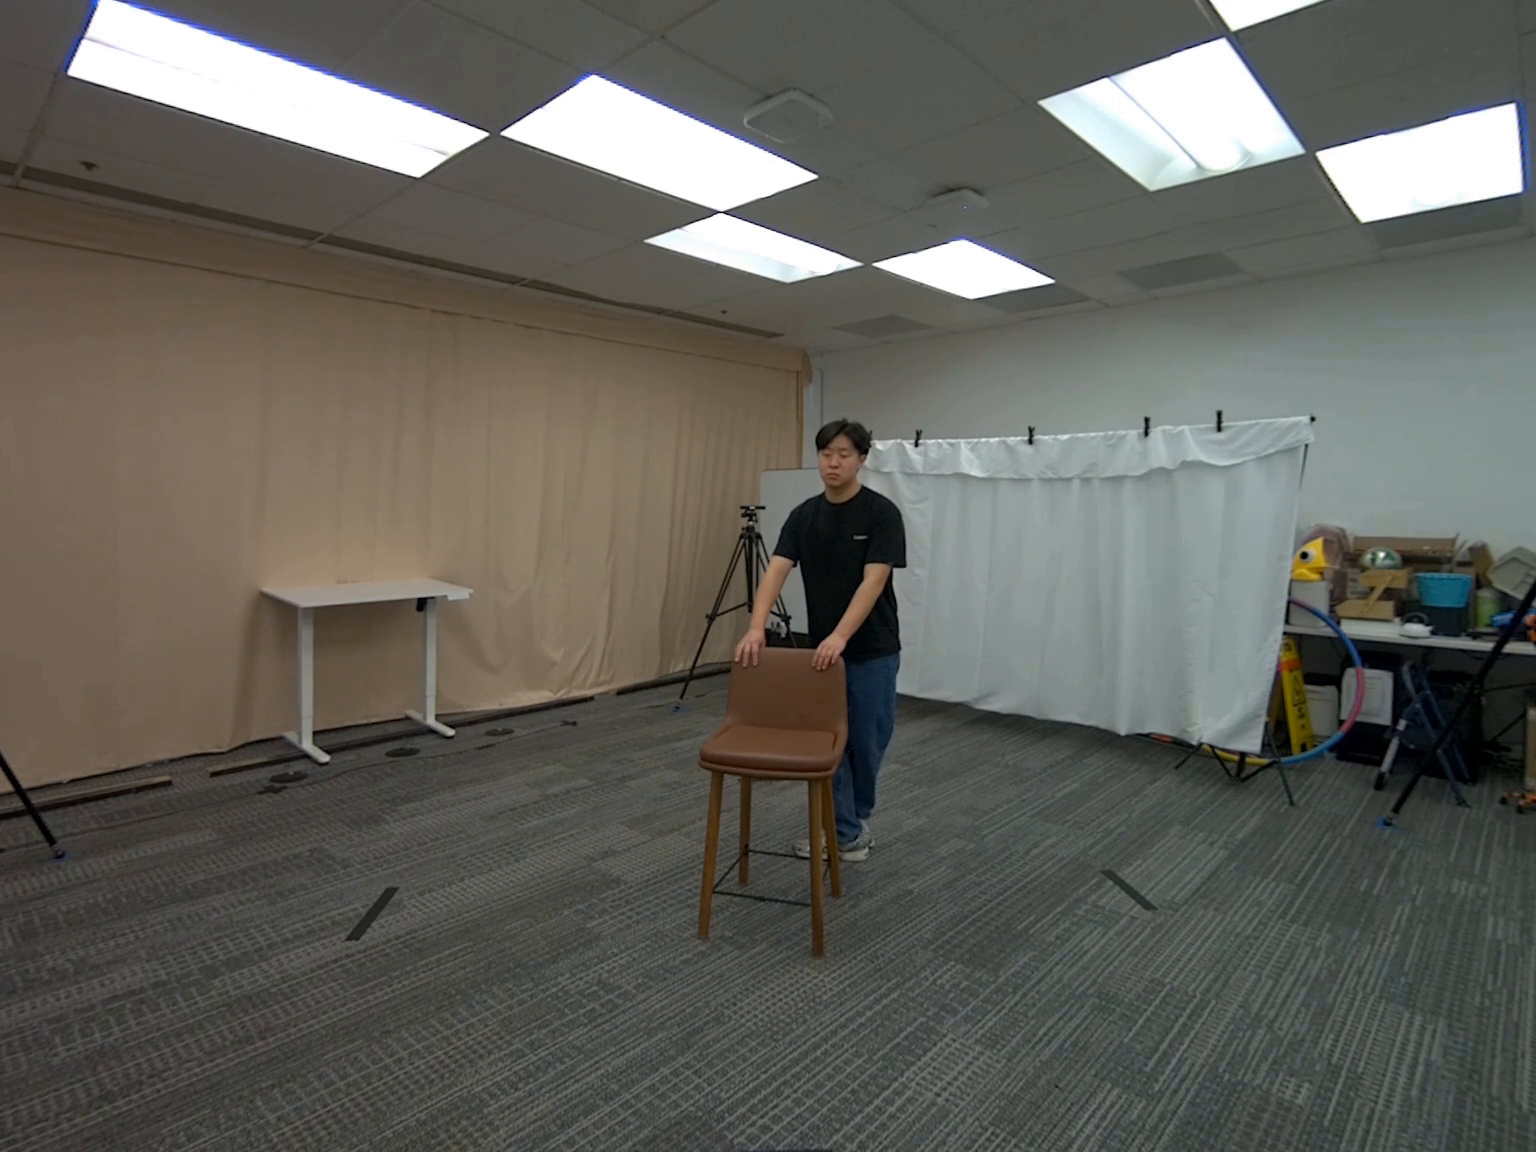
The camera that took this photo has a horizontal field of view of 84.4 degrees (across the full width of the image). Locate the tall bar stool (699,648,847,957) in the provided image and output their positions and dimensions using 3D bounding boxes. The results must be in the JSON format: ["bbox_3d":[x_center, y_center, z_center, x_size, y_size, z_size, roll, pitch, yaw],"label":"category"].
[{"bbox_3d":[0.030,0.720,2.846,0.465,0.889,0.459,1,1,18],"label":"tall bar stool"}]
